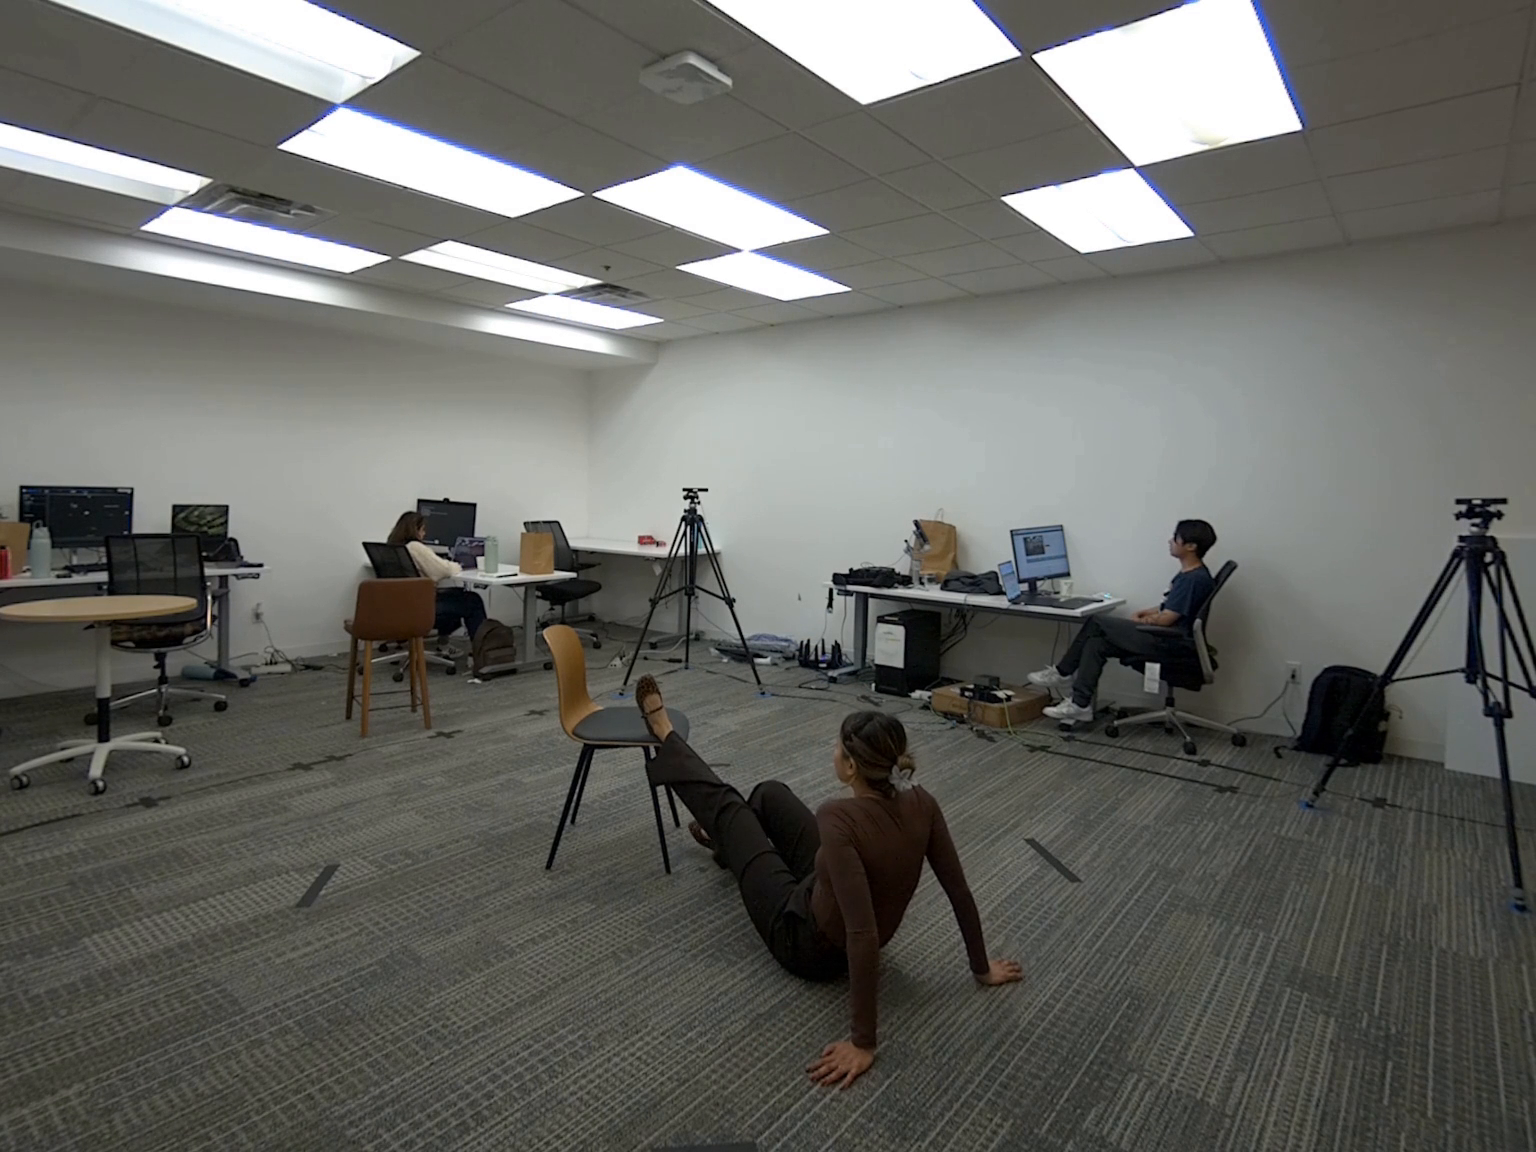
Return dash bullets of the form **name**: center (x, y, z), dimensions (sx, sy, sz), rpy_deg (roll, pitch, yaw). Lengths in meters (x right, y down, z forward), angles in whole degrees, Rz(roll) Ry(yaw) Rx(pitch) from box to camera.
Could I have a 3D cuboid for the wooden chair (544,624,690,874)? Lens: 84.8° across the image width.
- **wooden chair**: center (-0.580, 0.620, 3.267), dimensions (0.524, 0.875, 0.479), rpy_deg (-2, 3, 1)
